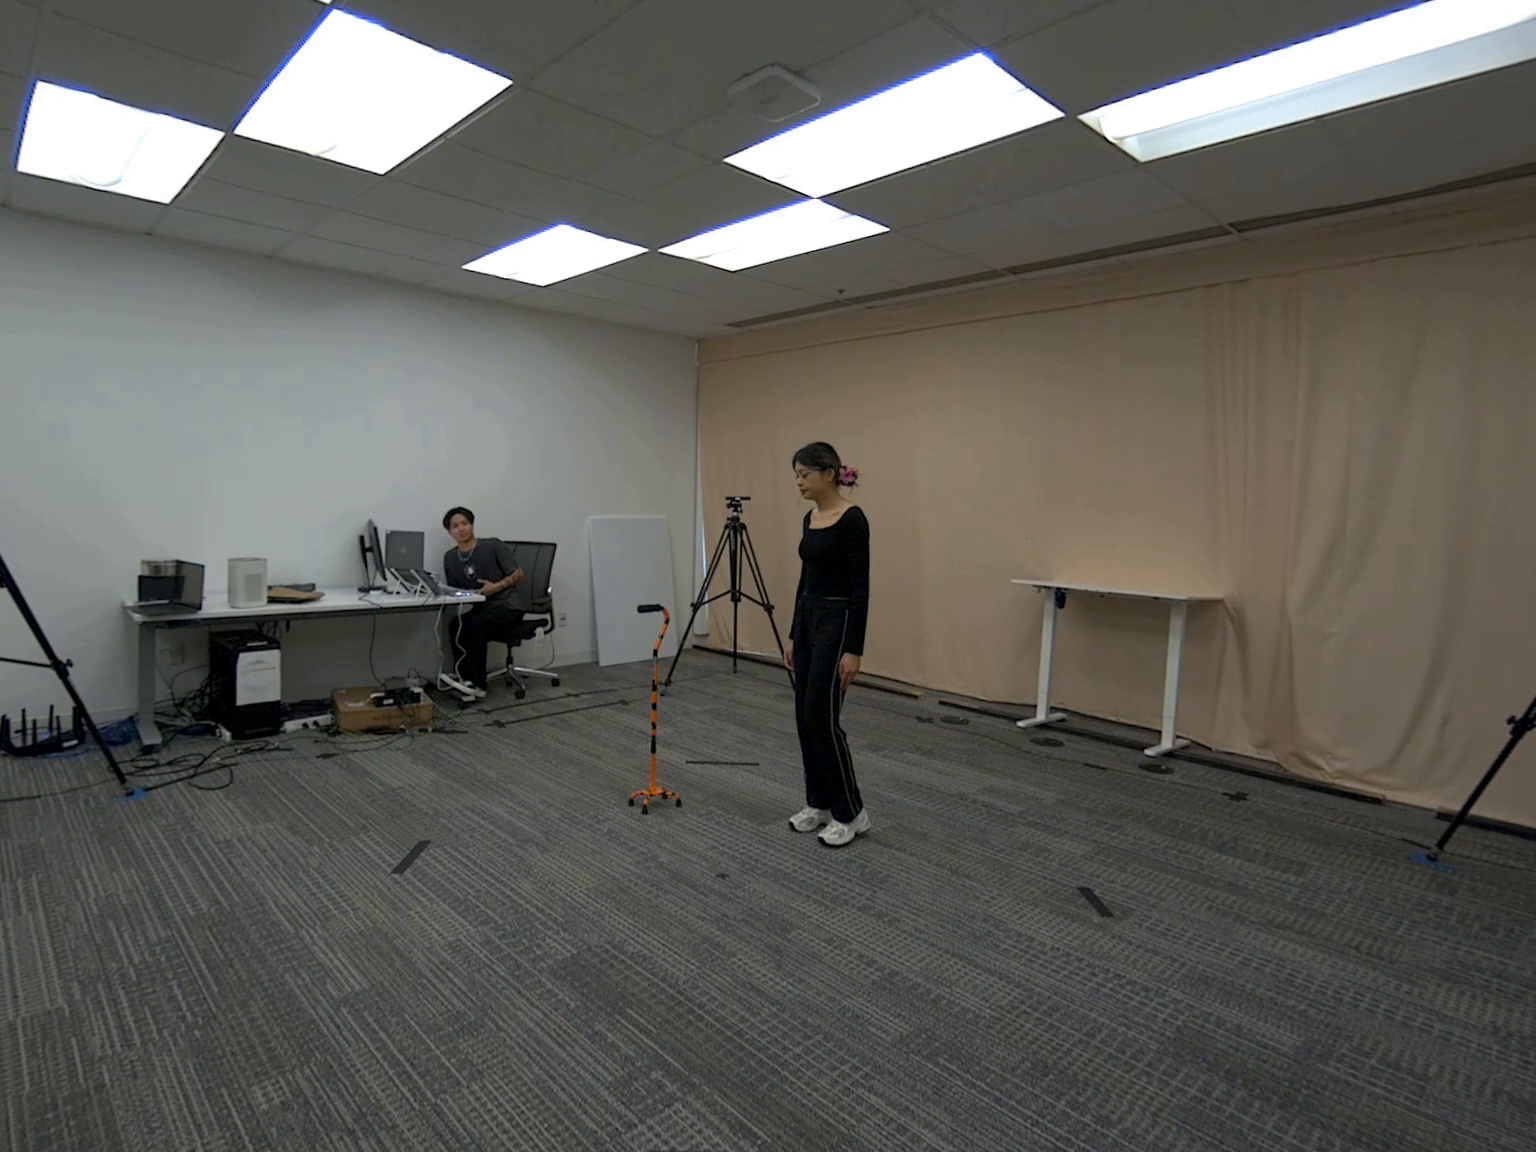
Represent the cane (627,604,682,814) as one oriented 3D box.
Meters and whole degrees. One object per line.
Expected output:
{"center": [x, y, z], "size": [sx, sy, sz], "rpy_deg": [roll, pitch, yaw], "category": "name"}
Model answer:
{"center": [-0.502, 0.578, 3.772], "size": [0.202, 0.906, 0.155], "rpy_deg": [0, 3, -37], "category": "cane"}
